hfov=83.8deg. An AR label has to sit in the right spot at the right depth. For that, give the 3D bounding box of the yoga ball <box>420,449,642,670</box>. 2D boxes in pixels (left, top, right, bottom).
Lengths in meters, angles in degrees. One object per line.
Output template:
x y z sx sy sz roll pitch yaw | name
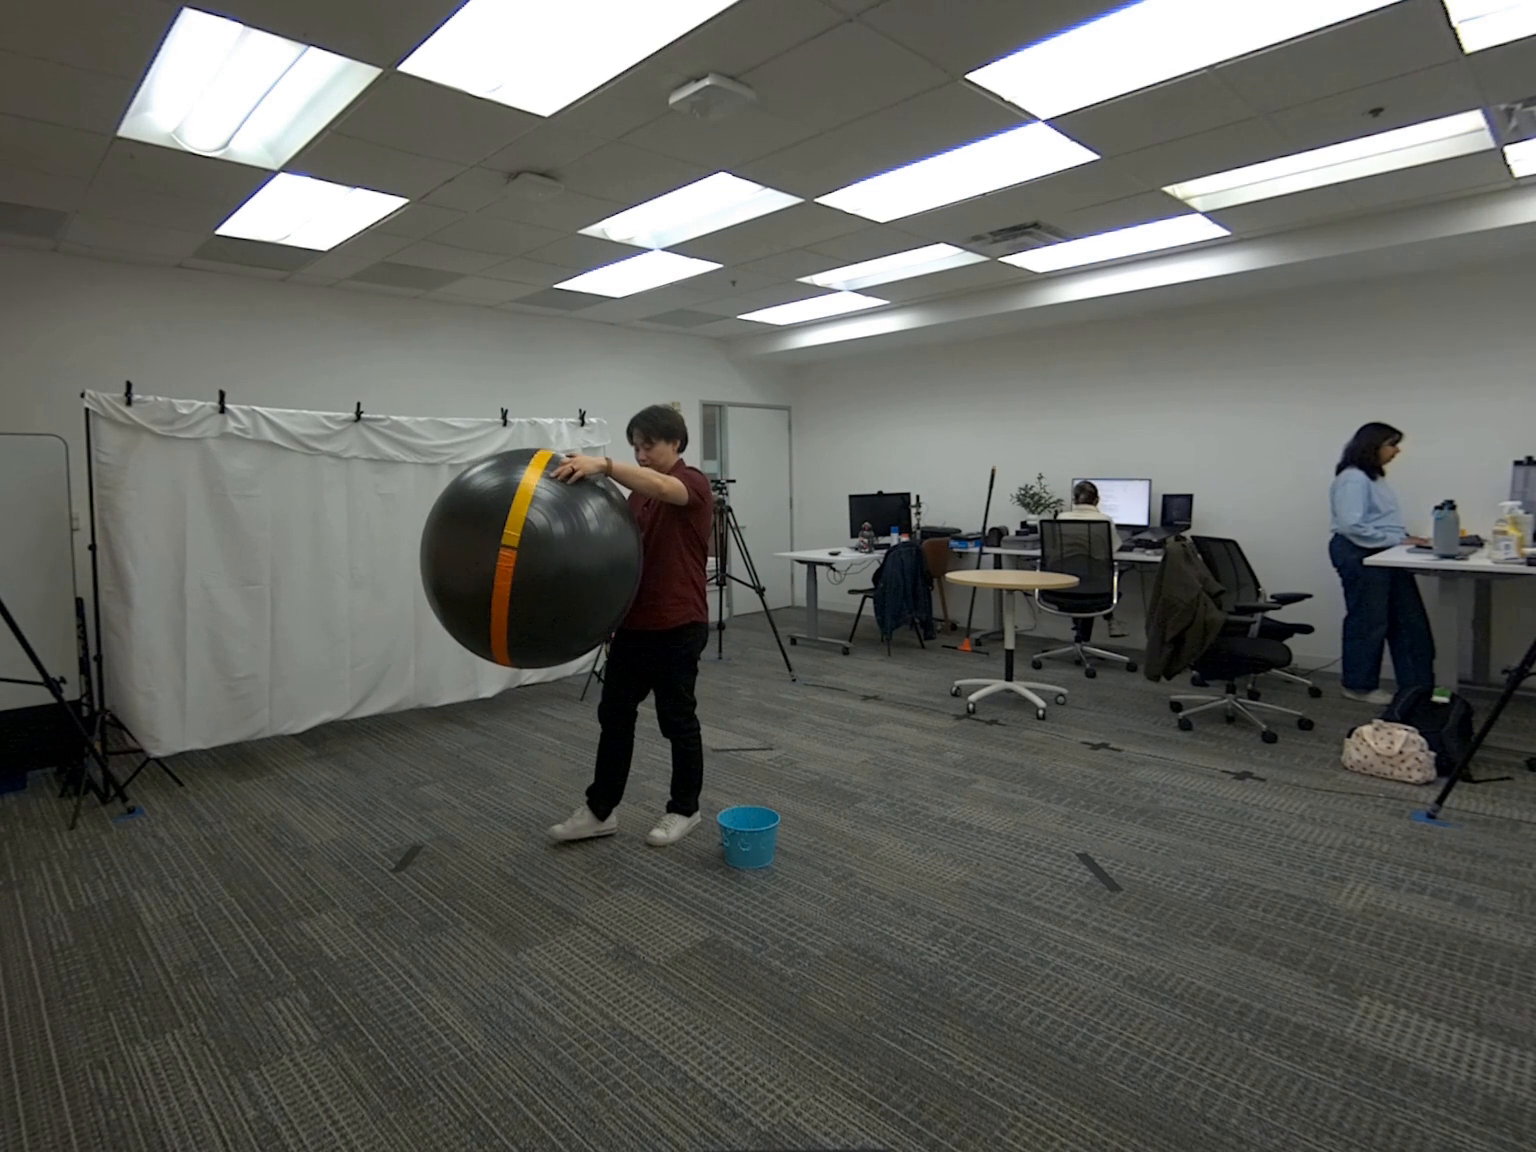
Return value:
-0.821 -0.059 2.966 0.757 0.755 0.762 -1 5 -2 | yoga ball
